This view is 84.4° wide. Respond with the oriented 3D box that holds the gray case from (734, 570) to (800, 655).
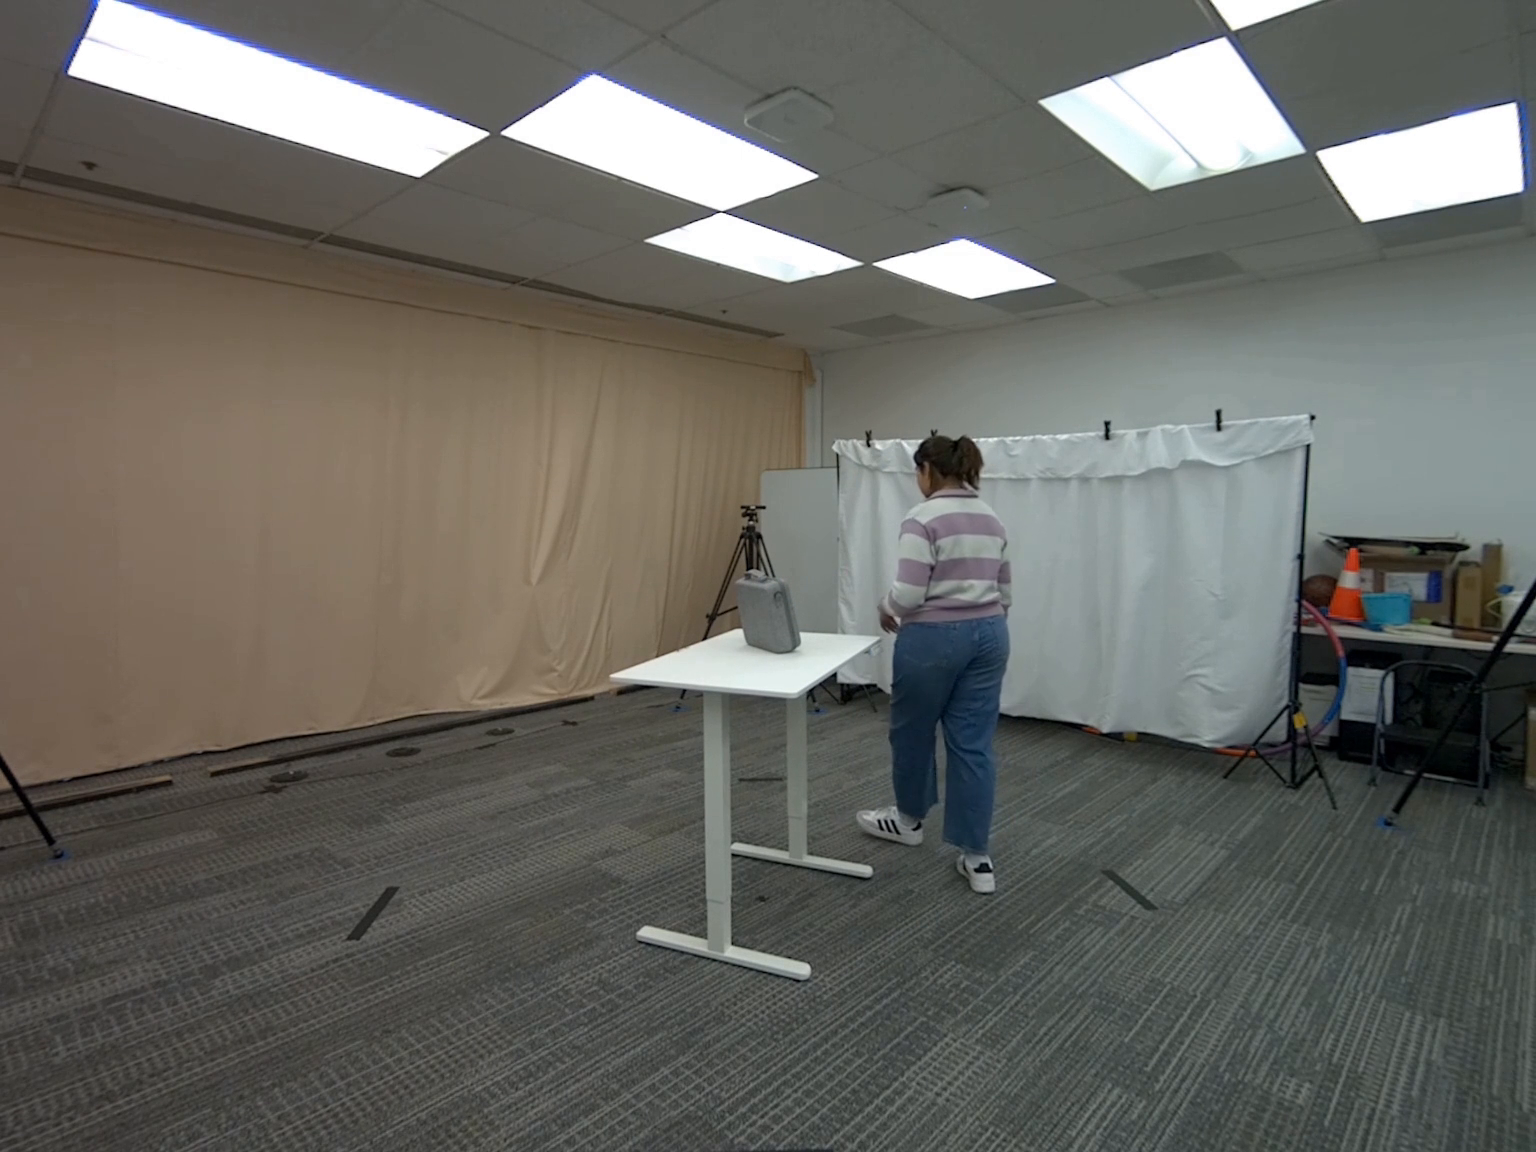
[{"bbox_3d":[-0.003,0.128,2.979,0.102,0.259,0.264,-13,9,-25],"label":"gray case"}]
